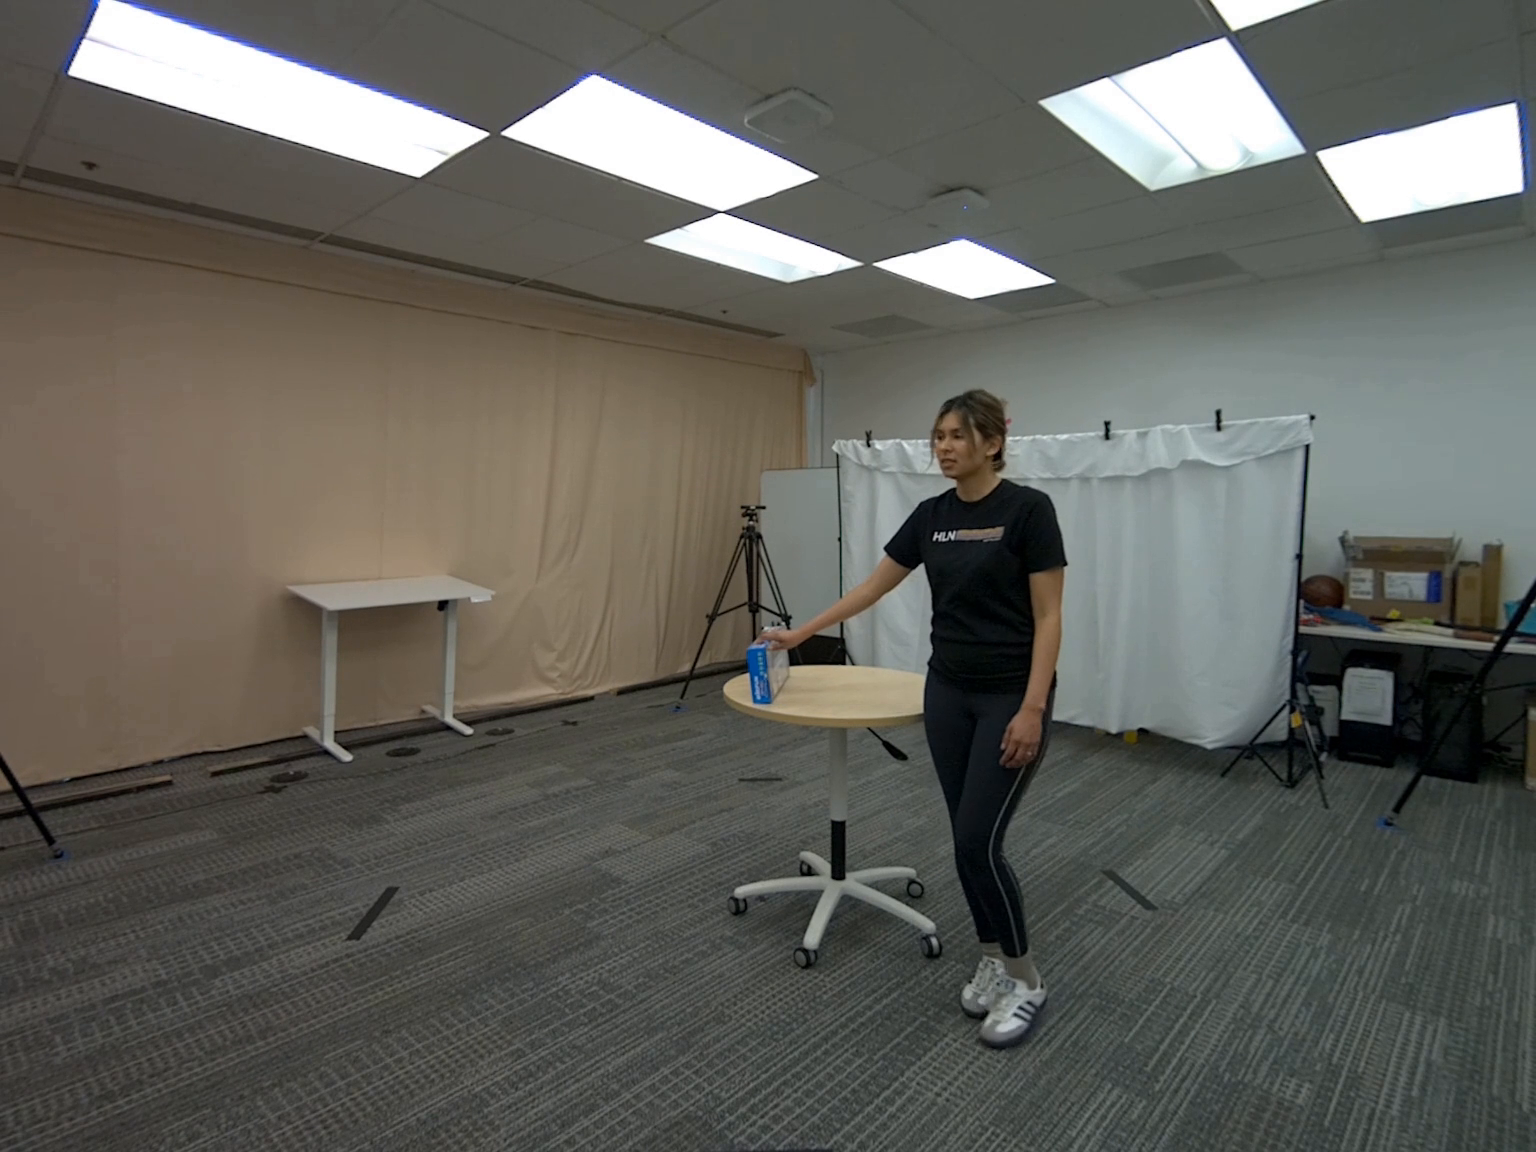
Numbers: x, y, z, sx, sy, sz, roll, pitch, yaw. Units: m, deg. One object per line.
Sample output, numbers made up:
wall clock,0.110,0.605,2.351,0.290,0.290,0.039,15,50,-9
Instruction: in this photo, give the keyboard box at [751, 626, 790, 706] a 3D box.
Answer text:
keyboard box,0.011,0.286,2.797,0.060,0.175,0.434,-5,4,8
